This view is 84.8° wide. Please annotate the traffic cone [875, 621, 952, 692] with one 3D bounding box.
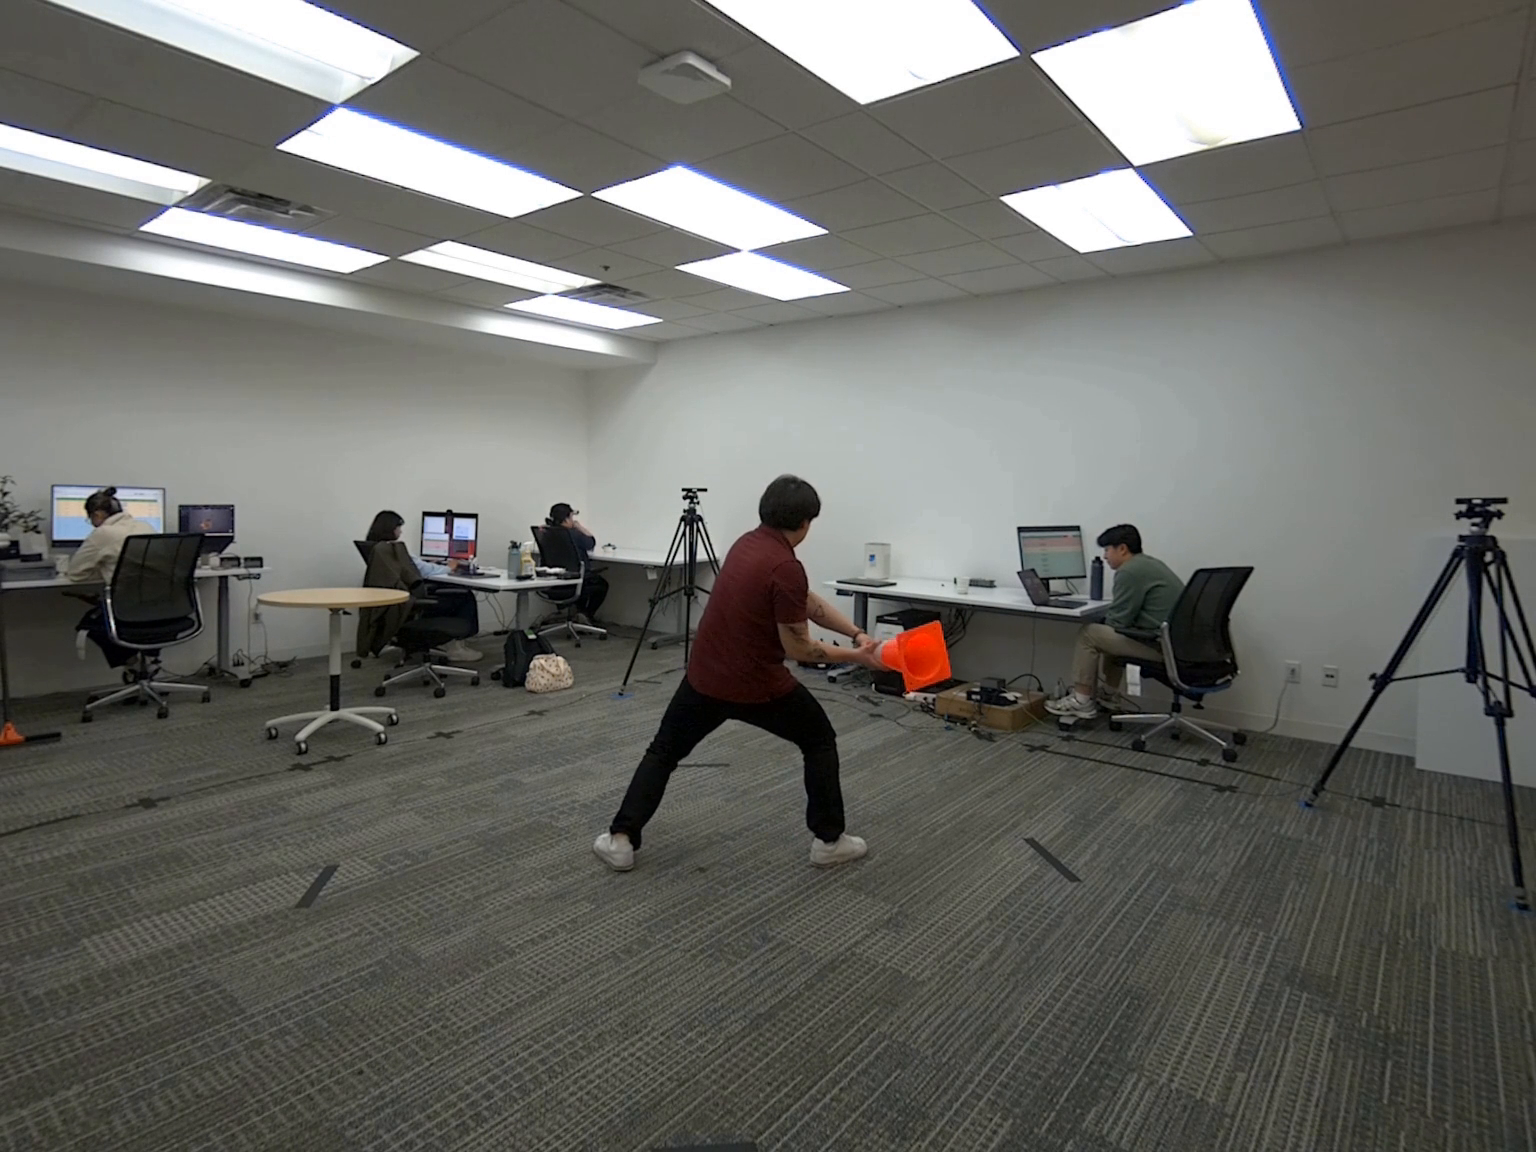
[{"bbox_3d":[0.408,0.271,3.036,0.199,0.205,0.391,-15,3,-27],"label":"traffic cone"}]
